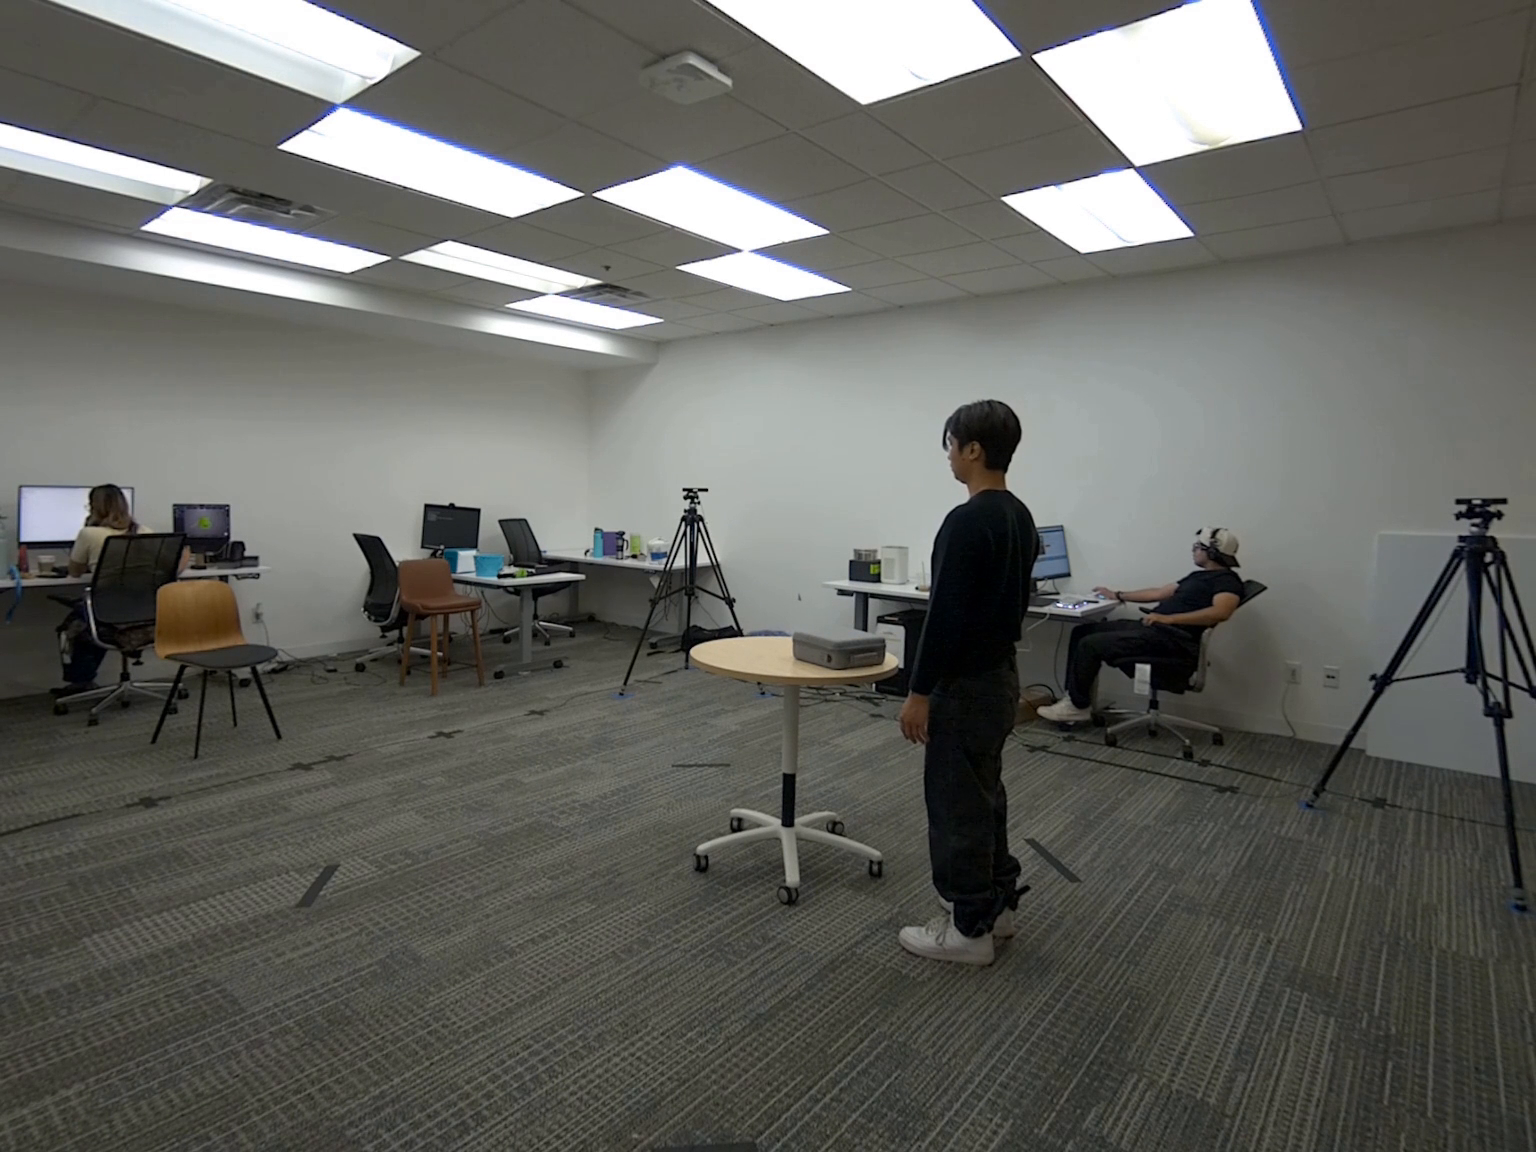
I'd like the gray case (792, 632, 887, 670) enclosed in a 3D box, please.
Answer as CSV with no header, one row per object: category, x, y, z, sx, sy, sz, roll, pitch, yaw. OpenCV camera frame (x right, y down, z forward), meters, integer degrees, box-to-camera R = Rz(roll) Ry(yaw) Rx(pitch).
gray case,0.250,0.249,3.049,0.249,0.104,0.269,0,6,-37
